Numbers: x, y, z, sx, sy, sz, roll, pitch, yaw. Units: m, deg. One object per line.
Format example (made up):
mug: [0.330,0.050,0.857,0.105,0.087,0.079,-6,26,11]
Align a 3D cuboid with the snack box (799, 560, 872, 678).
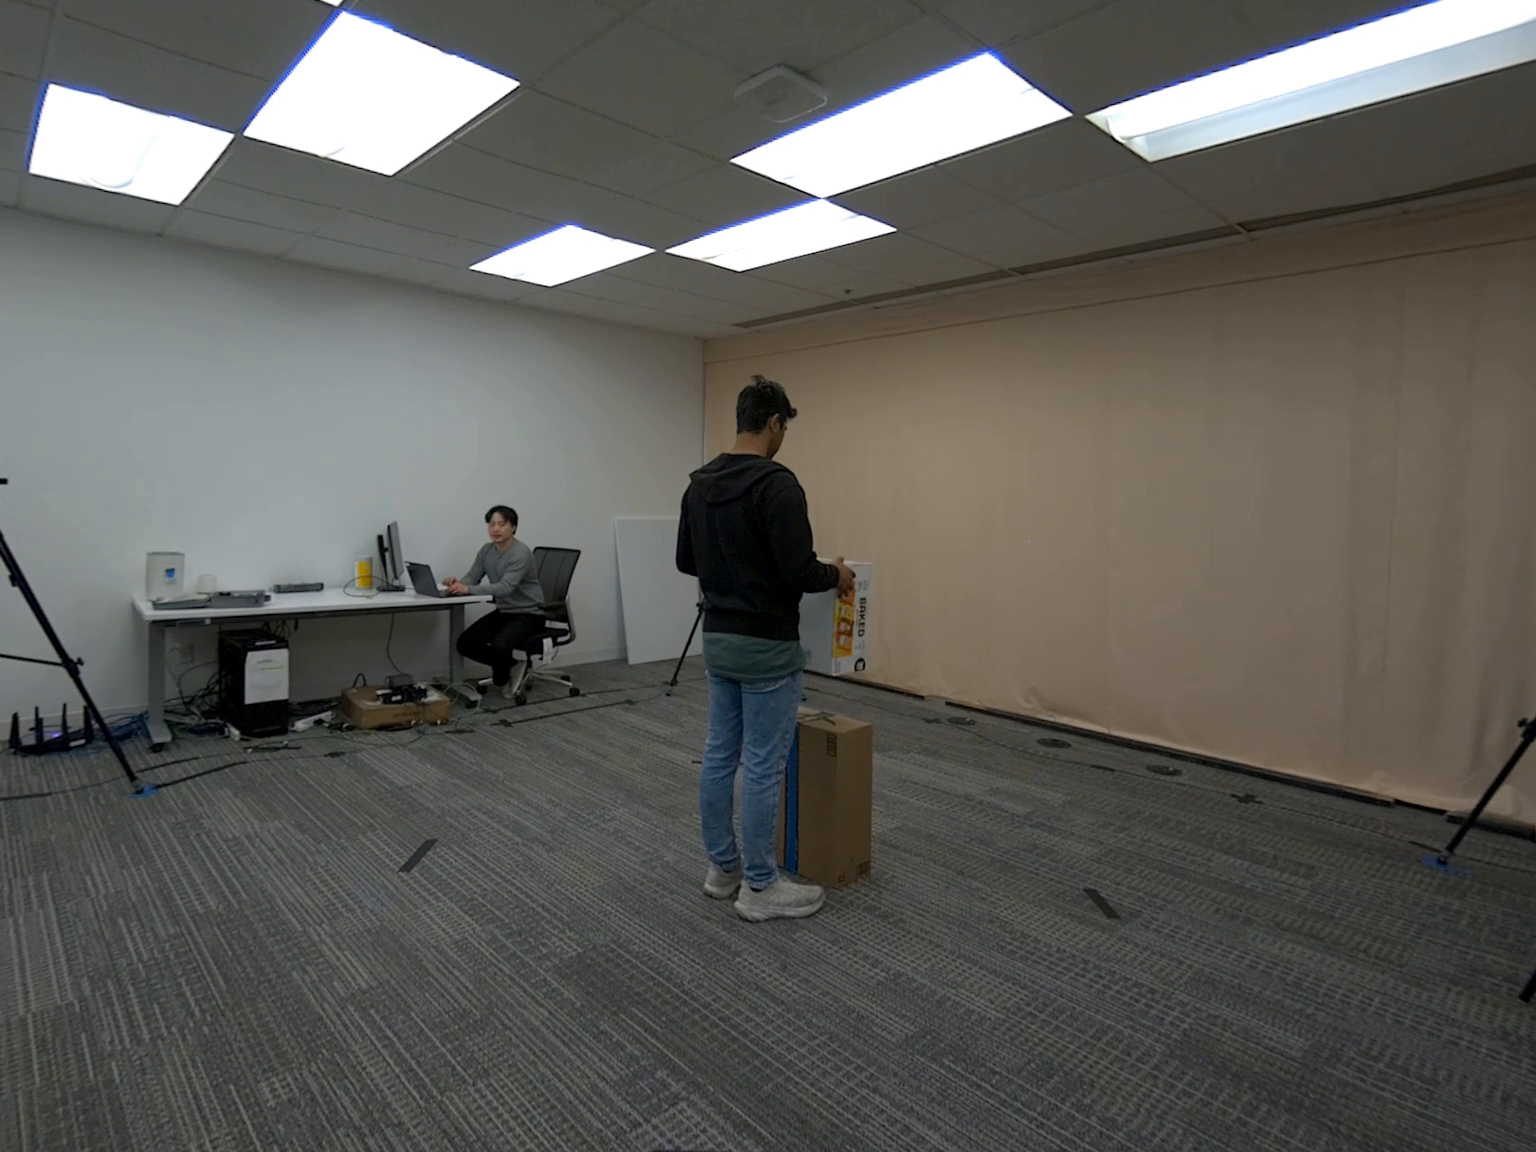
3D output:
snack box: [0.181,0.135,3.207,0.201,0.404,0.349,-1,6,-44]
